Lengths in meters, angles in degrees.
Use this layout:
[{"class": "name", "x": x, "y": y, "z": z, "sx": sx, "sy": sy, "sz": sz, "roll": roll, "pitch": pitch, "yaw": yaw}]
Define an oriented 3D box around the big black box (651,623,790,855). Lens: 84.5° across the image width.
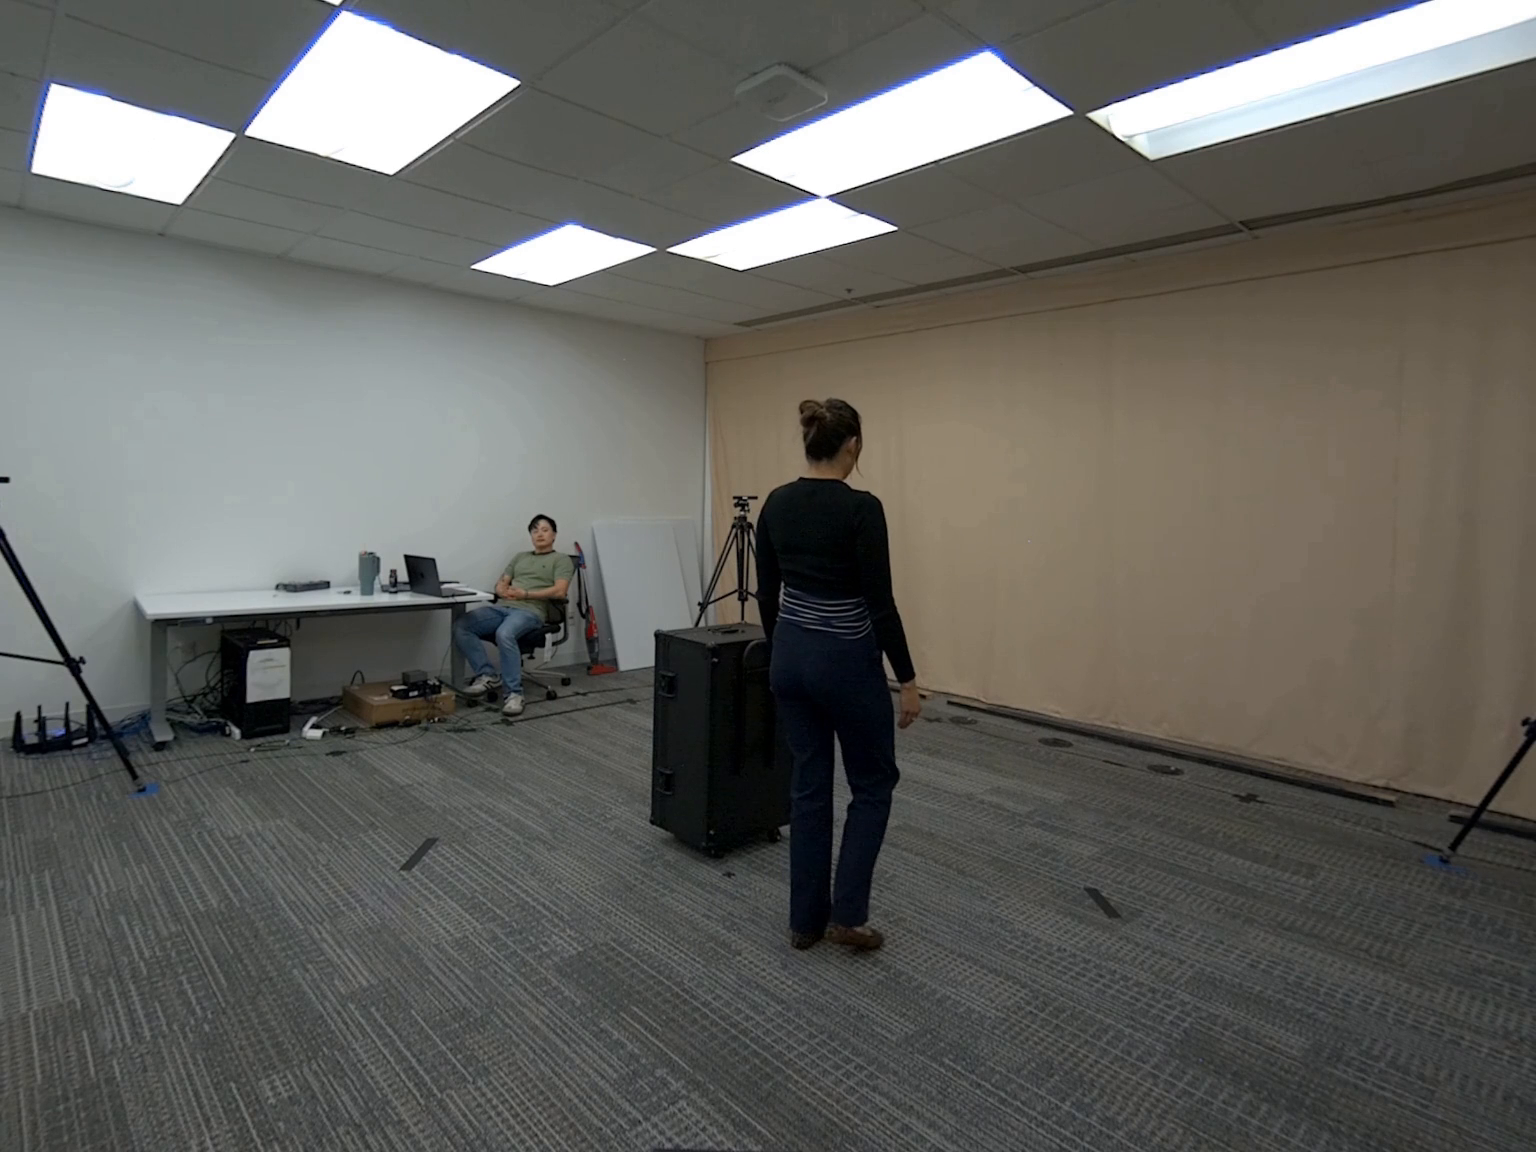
[{"class": "big black box", "x": -0.170, "y": 0.597, "z": 3.388, "sx": 0.509, "sy": 0.859, "sz": 0.406, "roll": -1, "pitch": 4, "yaw": -43}]
